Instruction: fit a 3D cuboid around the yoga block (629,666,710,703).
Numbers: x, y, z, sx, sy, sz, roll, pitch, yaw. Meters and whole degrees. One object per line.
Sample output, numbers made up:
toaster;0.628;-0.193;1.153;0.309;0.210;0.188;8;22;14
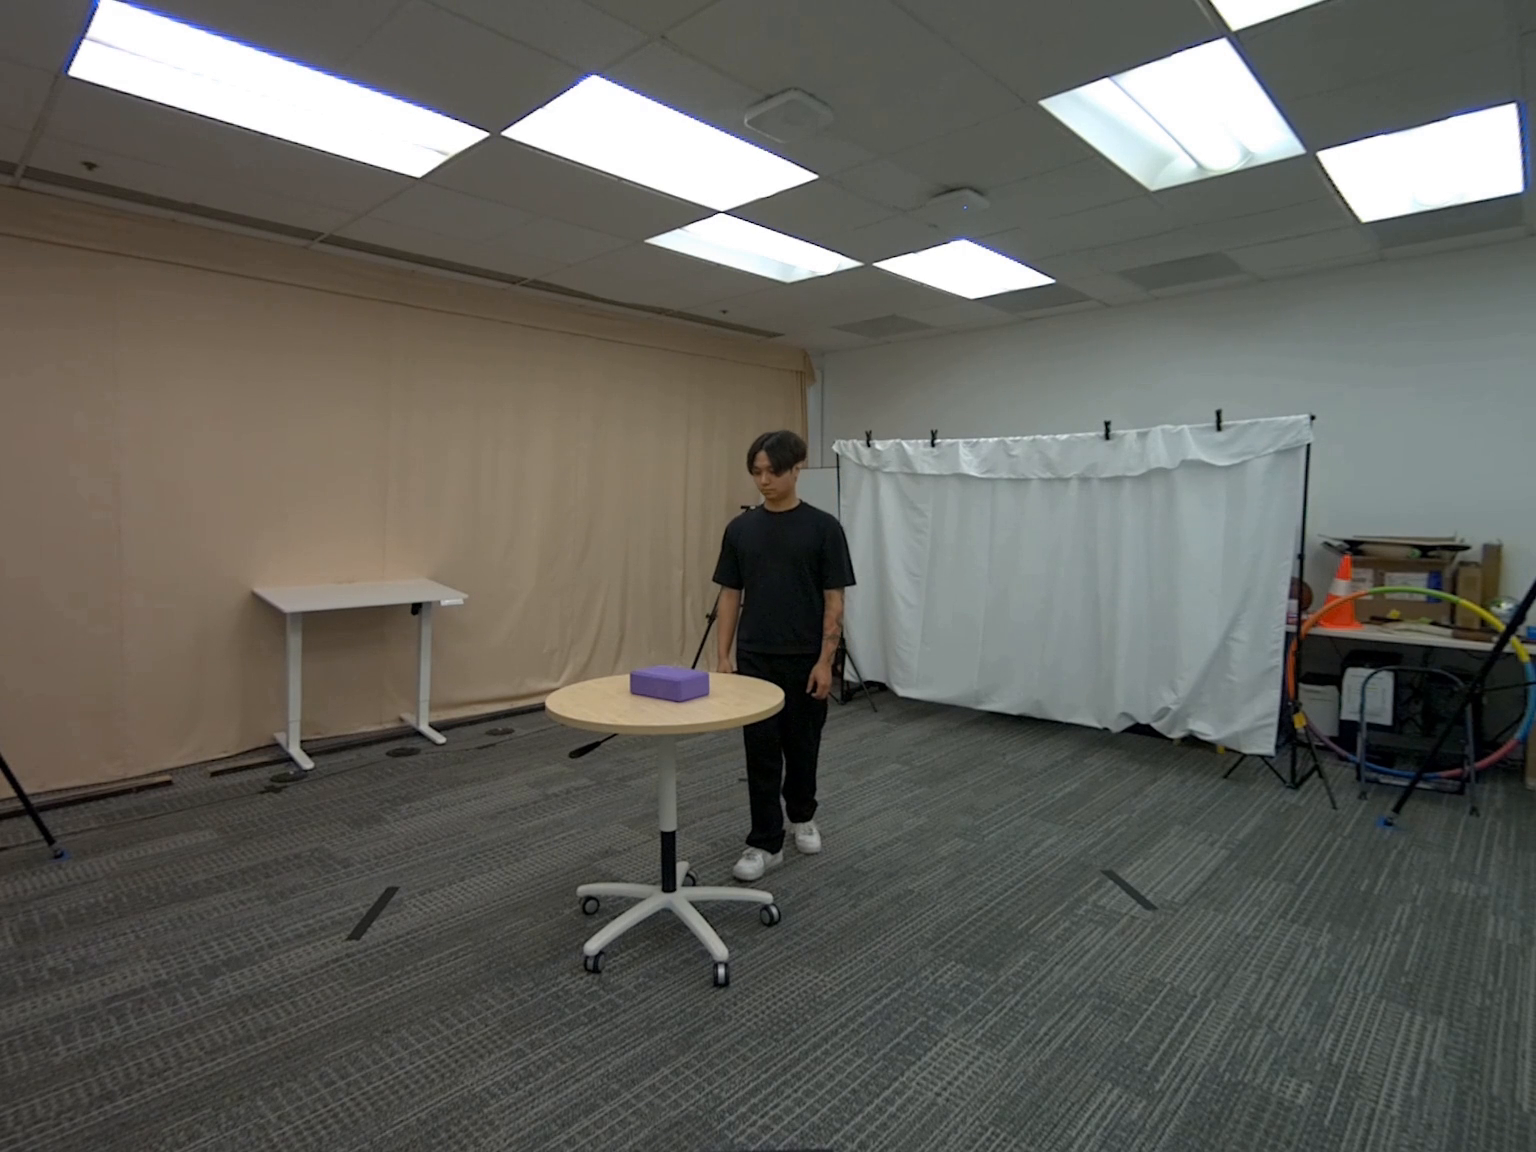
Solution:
yoga block;-0.316;0.345;2.724;0.237;0.076;0.144;3;6;38
